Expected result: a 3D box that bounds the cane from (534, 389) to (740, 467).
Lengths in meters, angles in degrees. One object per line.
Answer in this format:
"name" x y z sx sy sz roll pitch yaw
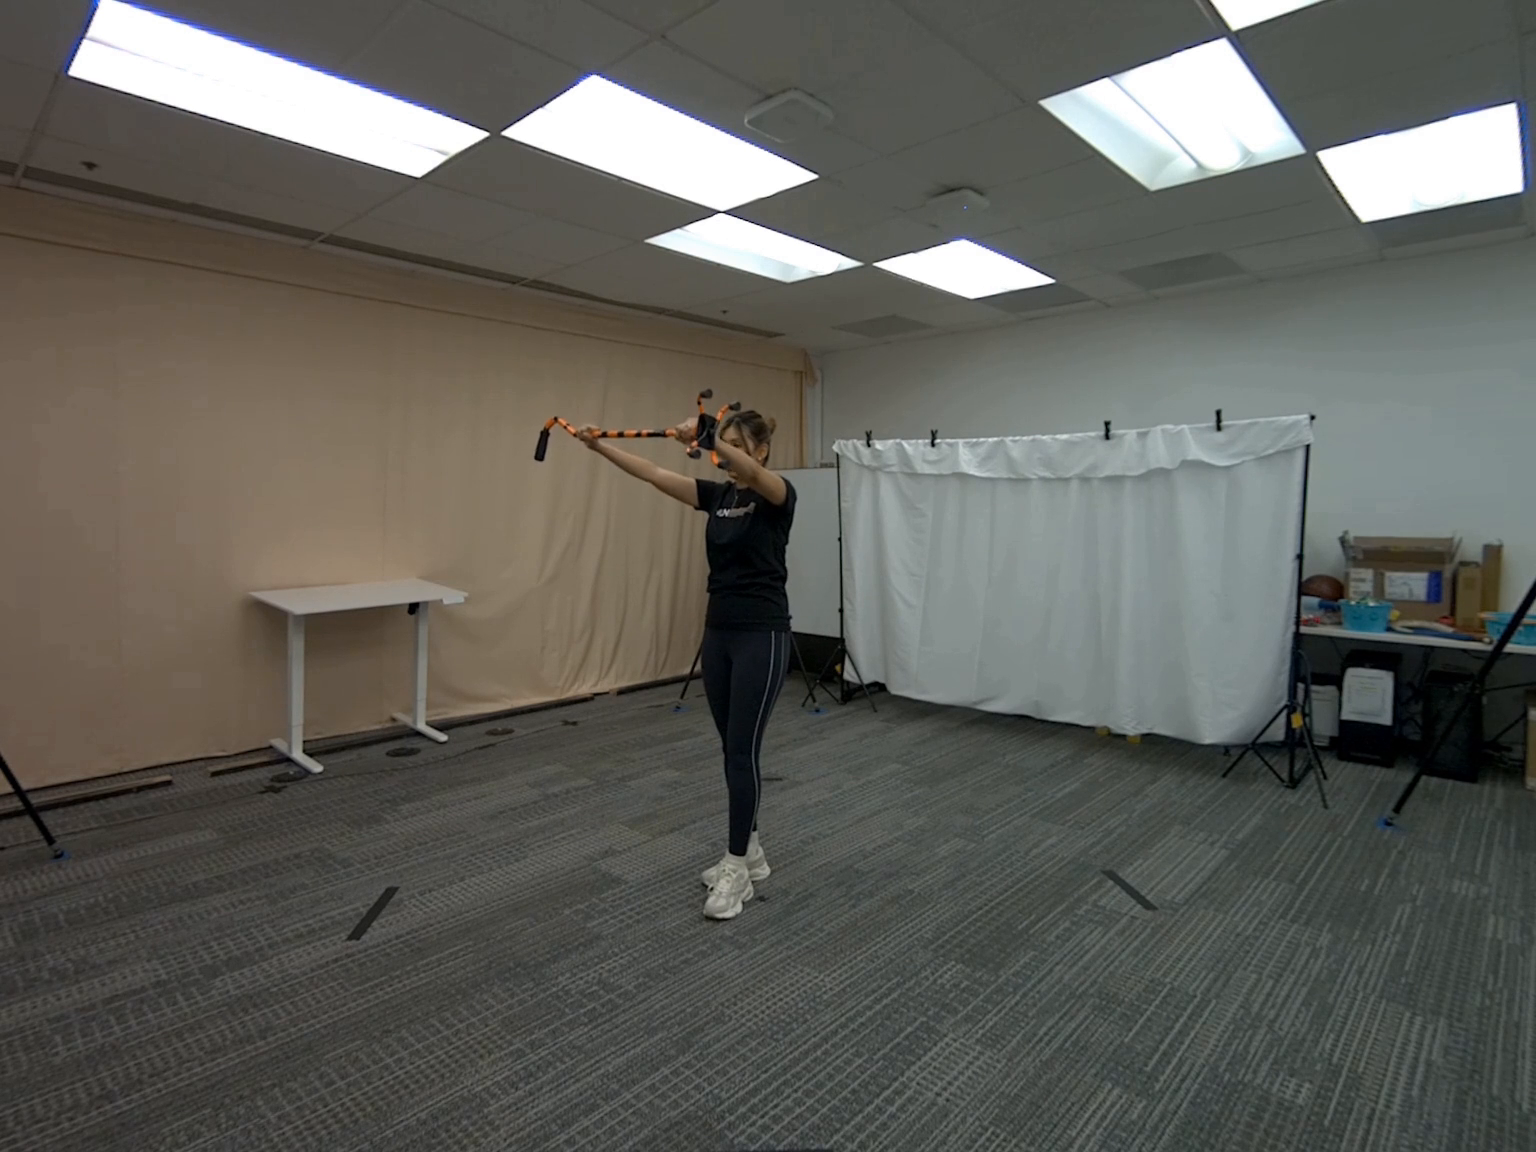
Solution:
"cane" -0.484 -0.469 2.744 0.939 0.207 0.146 8 -6 44
